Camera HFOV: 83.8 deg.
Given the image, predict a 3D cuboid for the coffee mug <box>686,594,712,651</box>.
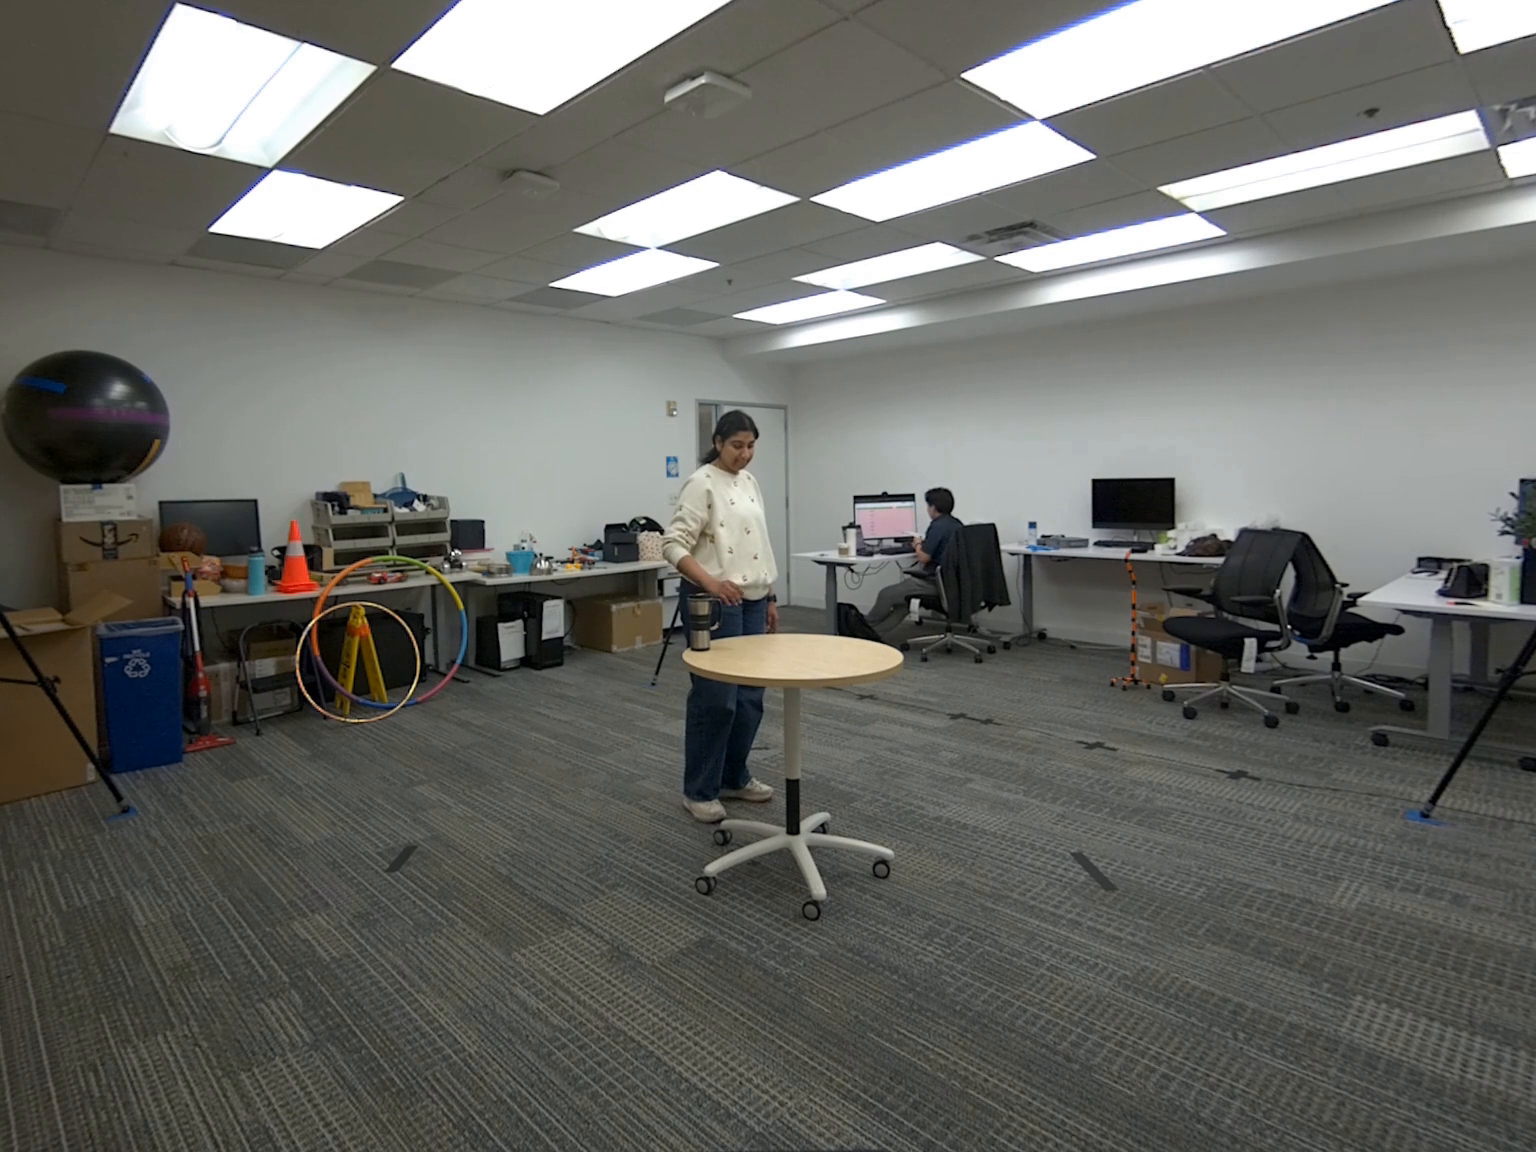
[{"bbox_3d":[-0.225,0.170,3.055,0.125,0.203,0.085,0,-1,38],"label":"coffee mug"}]
